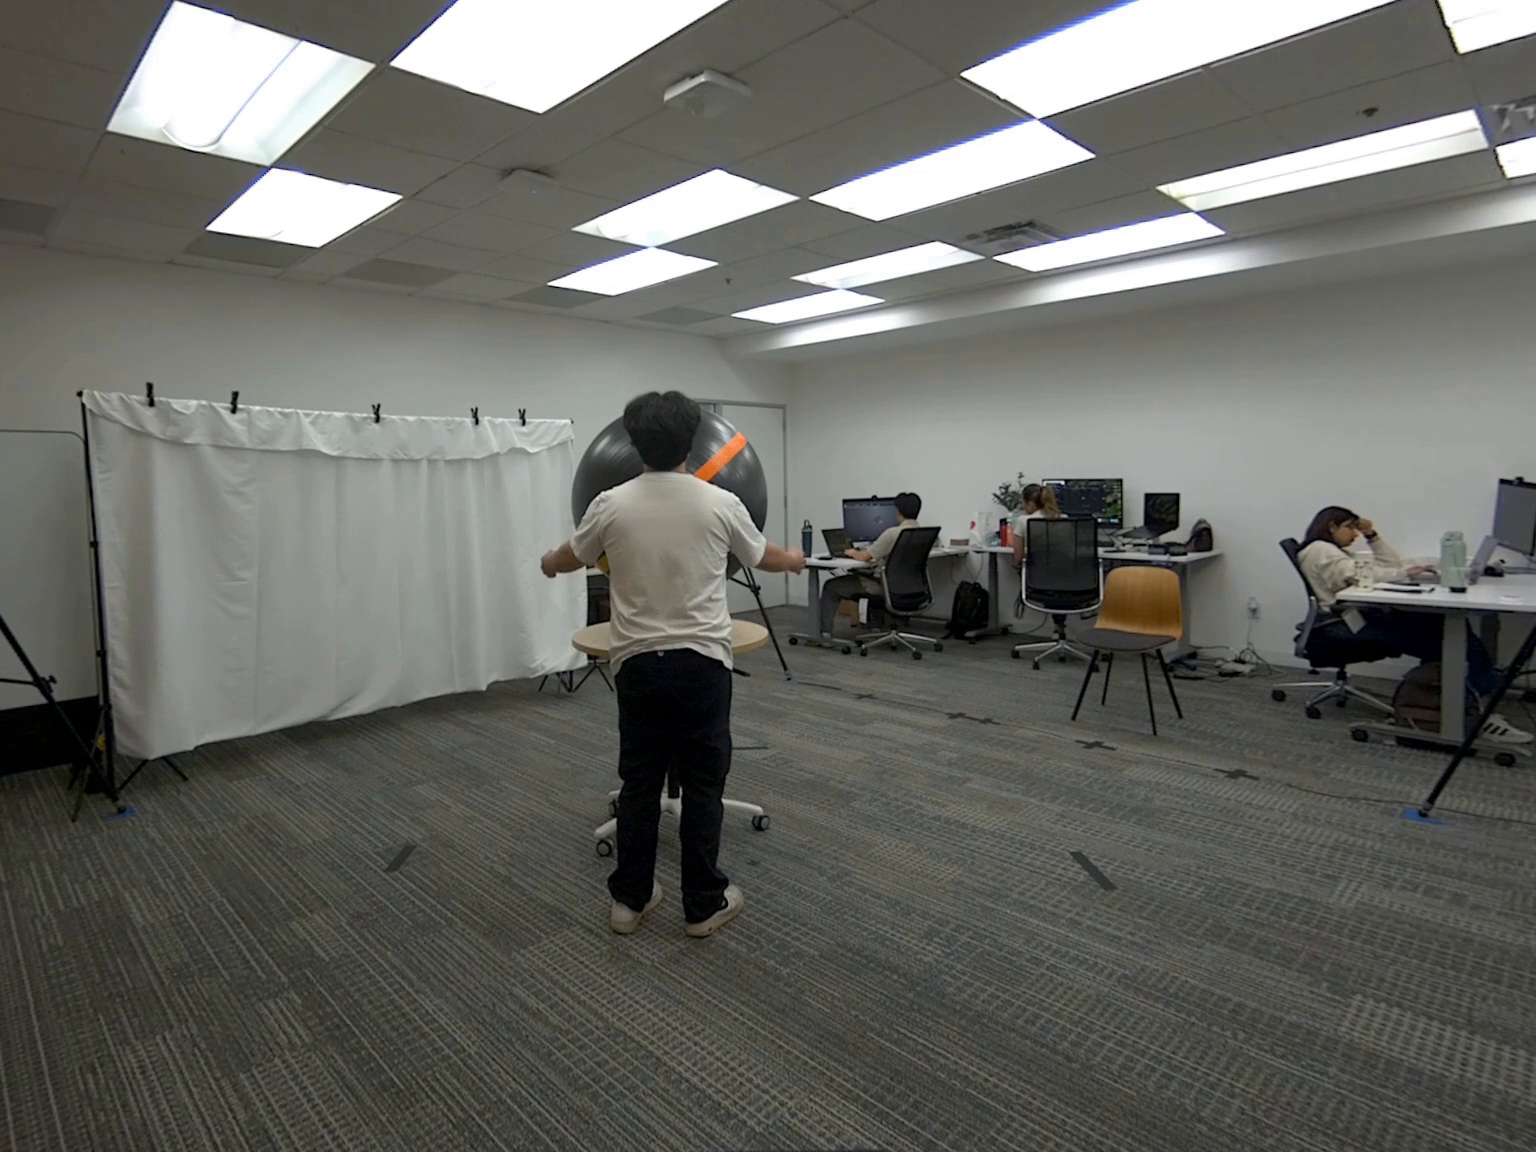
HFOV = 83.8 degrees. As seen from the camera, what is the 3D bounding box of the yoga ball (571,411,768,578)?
[{"bbox_3d":[-0.381,-0.287,3.328,0.757,0.755,0.762,-1,5,-2],"label":"yoga ball"}]
